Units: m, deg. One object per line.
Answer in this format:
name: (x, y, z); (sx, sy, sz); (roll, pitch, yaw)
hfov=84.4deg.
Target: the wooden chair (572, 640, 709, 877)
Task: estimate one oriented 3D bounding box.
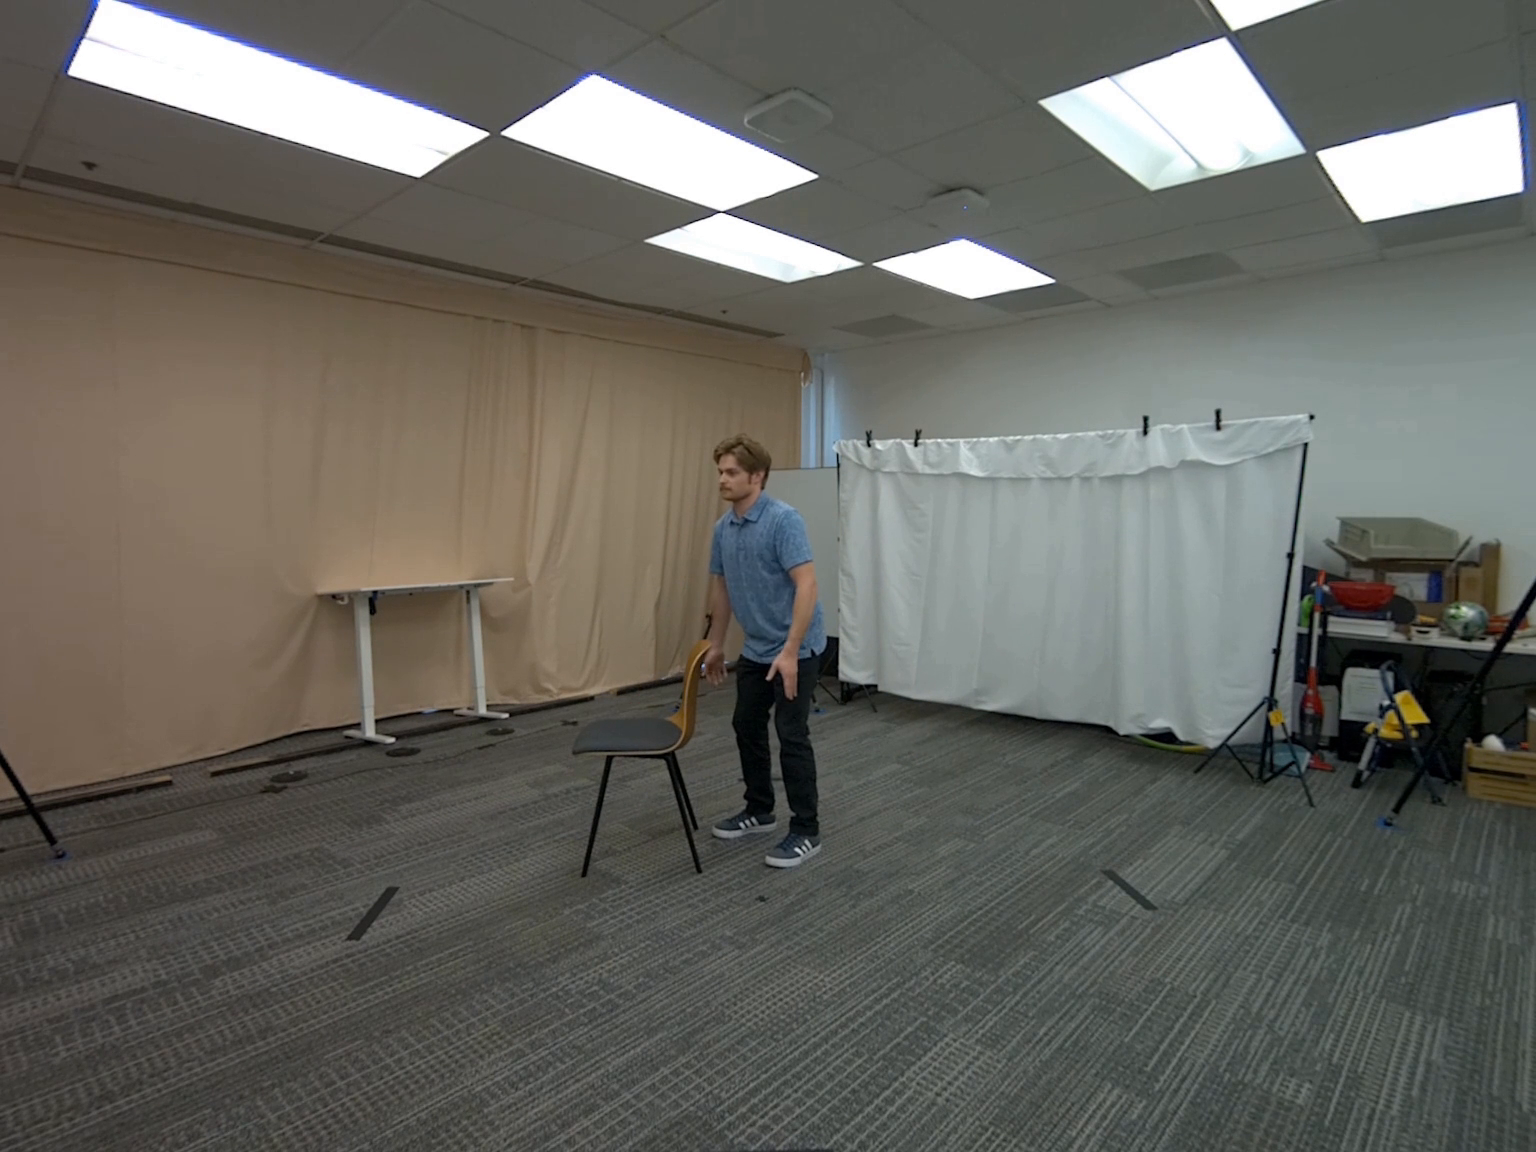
wooden chair: (-0.515, 0.692, 3.368); (0.521, 0.876, 0.481); (3, 3, -5)
